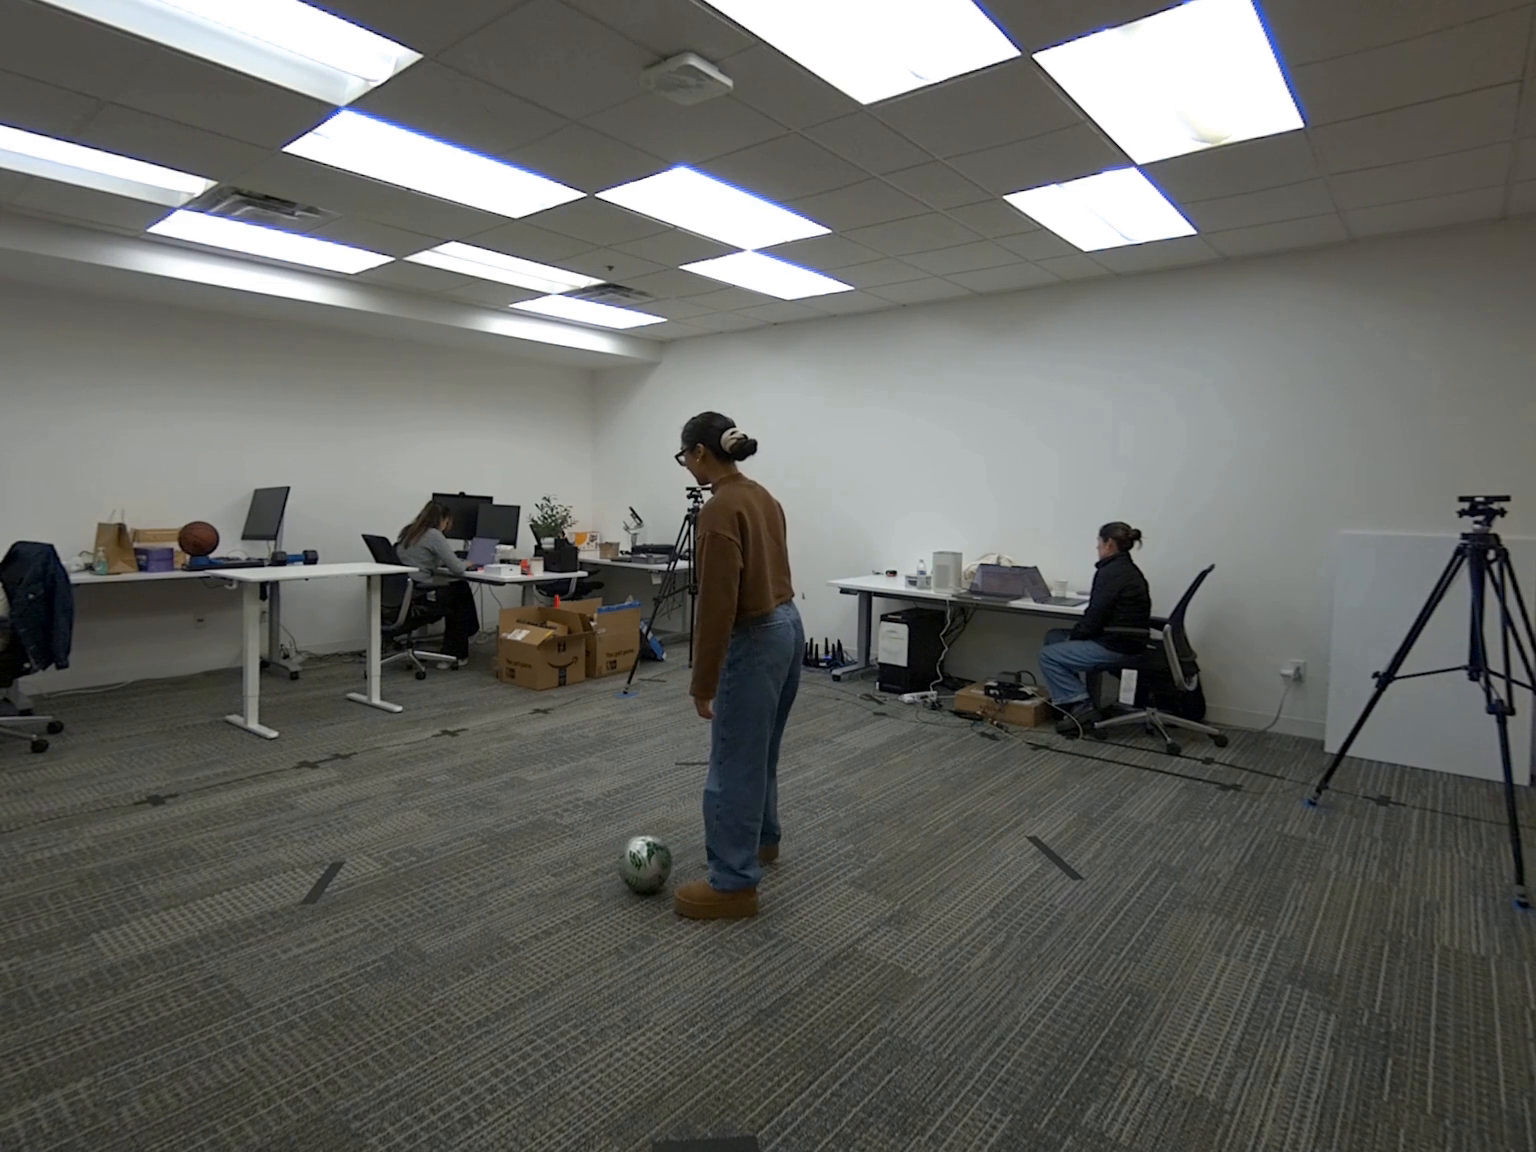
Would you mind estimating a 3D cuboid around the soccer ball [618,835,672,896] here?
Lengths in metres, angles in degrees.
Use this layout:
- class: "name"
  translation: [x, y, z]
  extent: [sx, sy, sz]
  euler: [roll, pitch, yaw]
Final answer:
- class: "soccer ball"
  translation: [-0.437, 0.984, 2.926]
  extent: [0.187, 0.187, 0.188]
  euler: [1, 4, -2]
